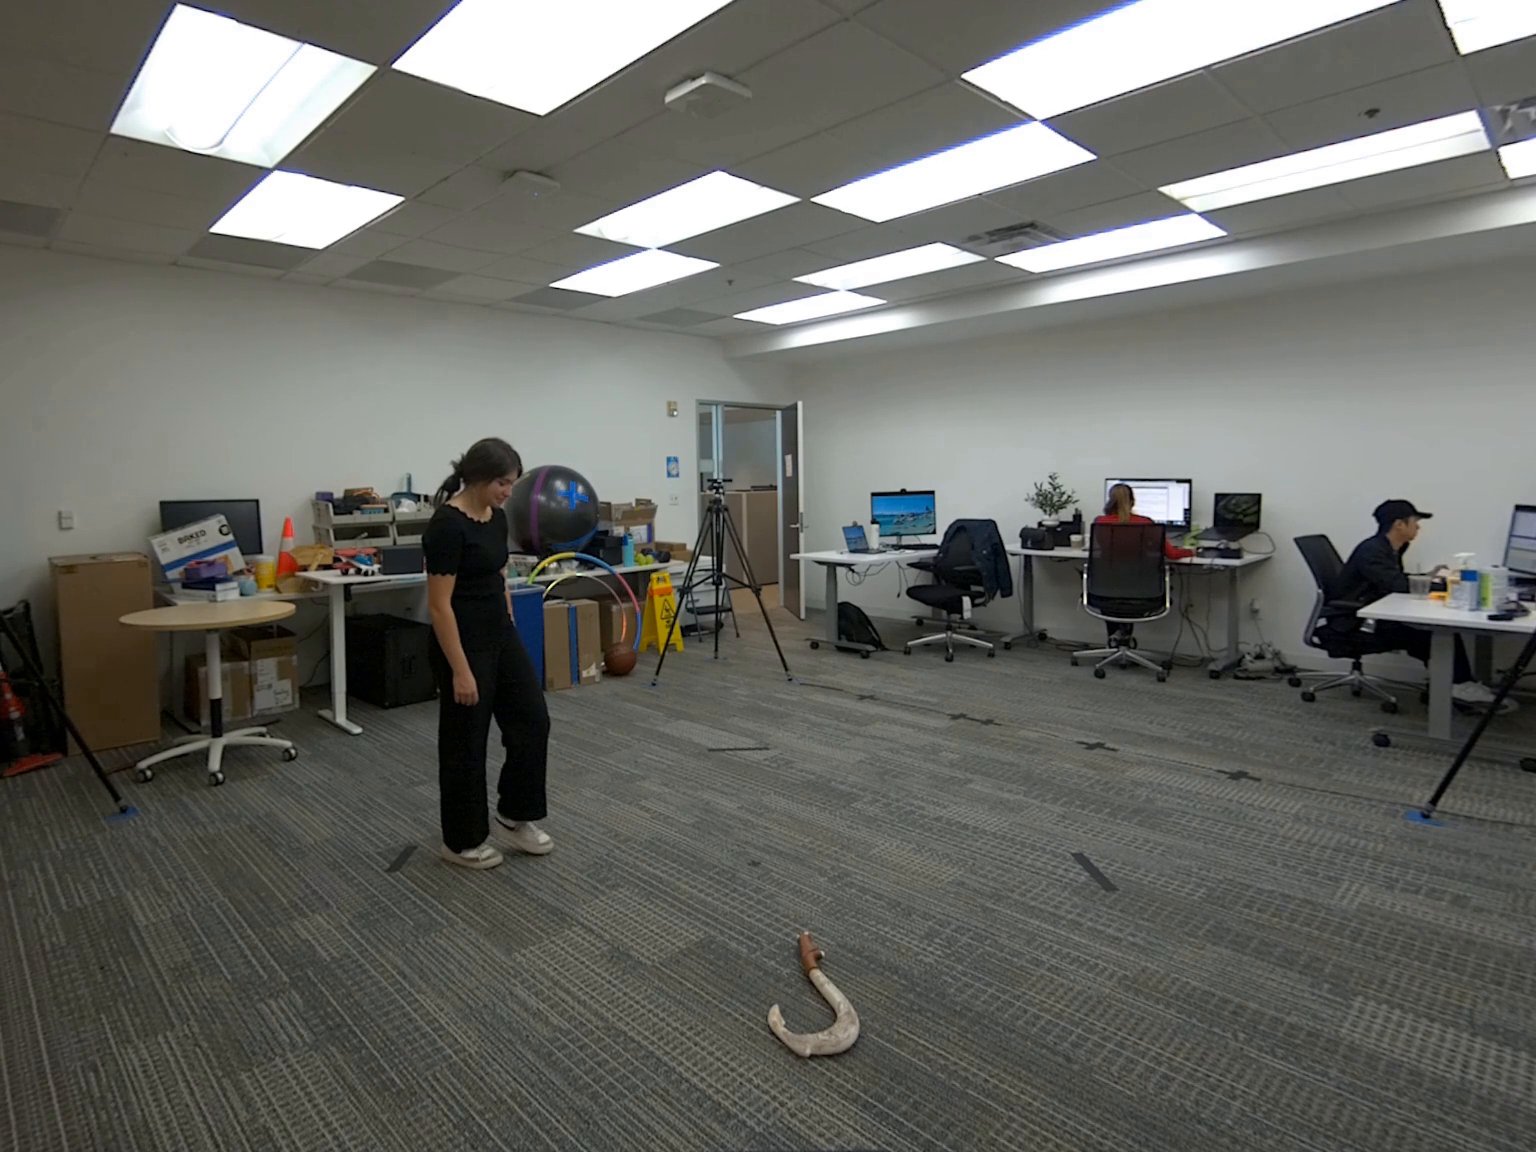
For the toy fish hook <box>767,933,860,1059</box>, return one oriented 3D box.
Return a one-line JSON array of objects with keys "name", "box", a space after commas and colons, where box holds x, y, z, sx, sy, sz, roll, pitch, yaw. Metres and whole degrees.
[{"name": "toy fish hook", "box": [0.098, 1.113, 2.305, 0.223, 0.048, 0.513, -1, 6, -9]}]
